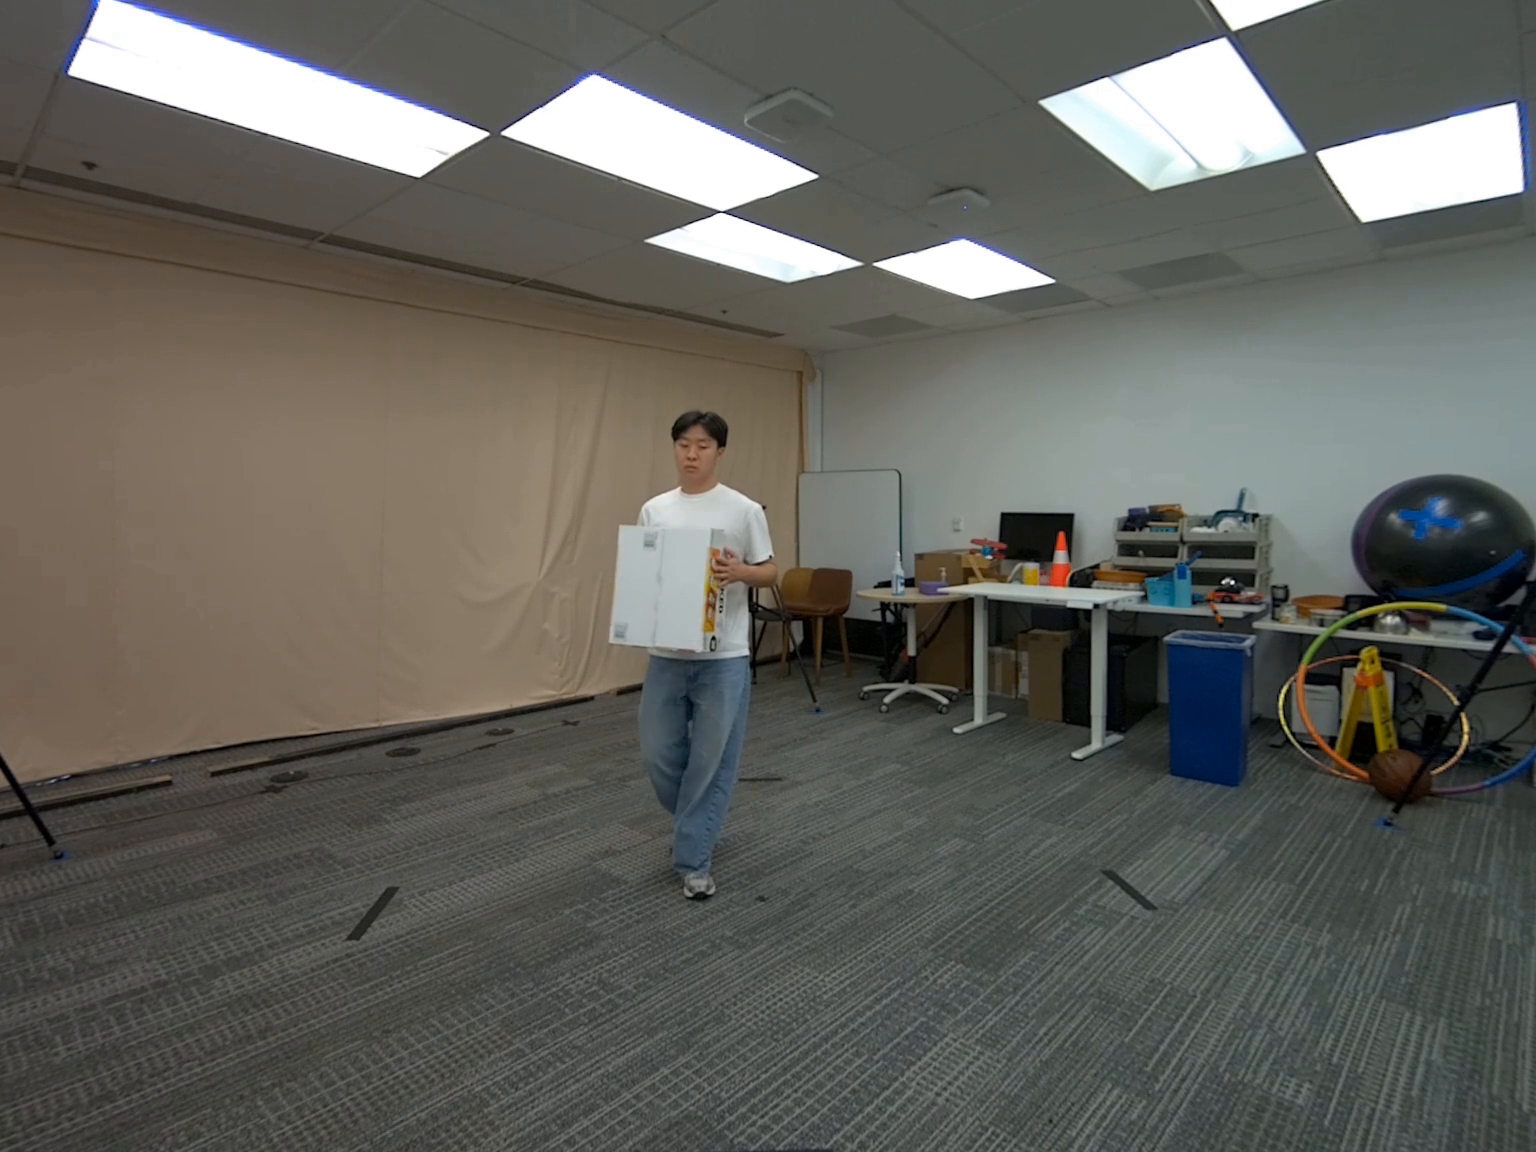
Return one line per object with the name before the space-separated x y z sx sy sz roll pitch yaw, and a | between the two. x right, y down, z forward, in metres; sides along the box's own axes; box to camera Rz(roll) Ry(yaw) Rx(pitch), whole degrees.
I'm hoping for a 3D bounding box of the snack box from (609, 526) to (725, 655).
snack box | -0.336 0.048 2.879 0.347 0.406 0.201 3 -4 18
